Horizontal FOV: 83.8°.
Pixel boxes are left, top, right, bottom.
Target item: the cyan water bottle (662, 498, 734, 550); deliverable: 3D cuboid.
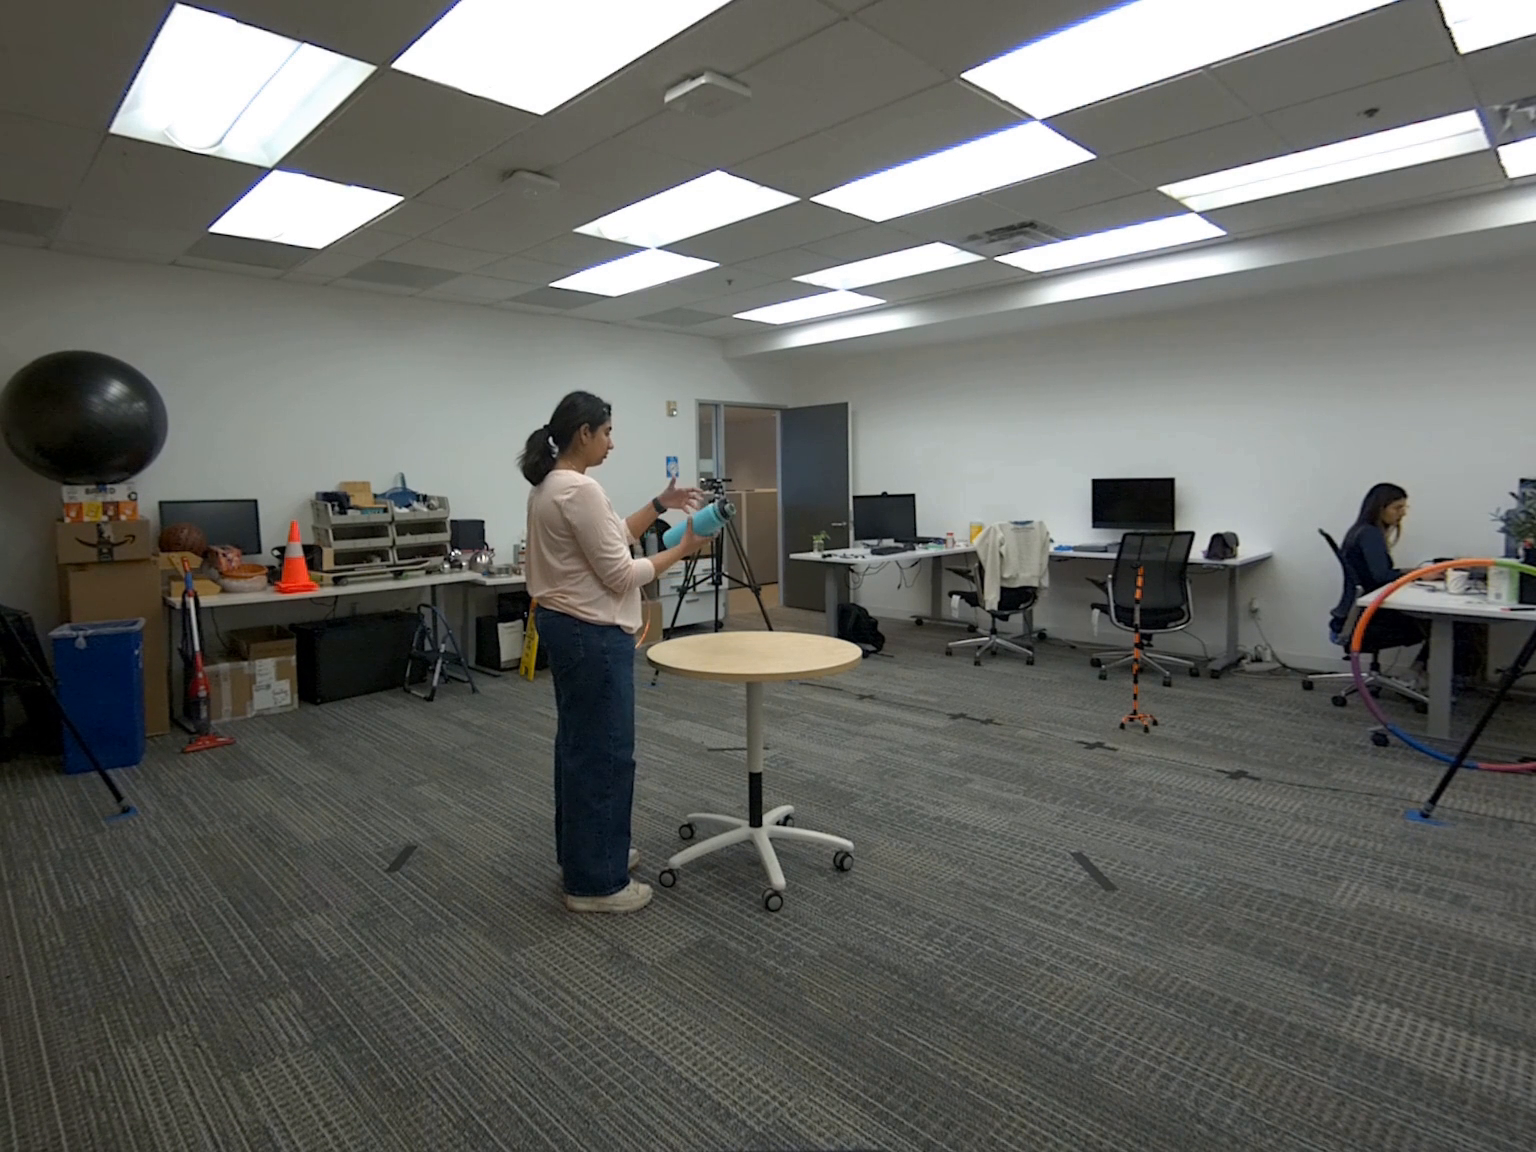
[{"bbox_3d":[-0.235,-0.167,2.936,0.286,0.093,0.090,-30,-10,27],"label":"cyan water bottle"}]
